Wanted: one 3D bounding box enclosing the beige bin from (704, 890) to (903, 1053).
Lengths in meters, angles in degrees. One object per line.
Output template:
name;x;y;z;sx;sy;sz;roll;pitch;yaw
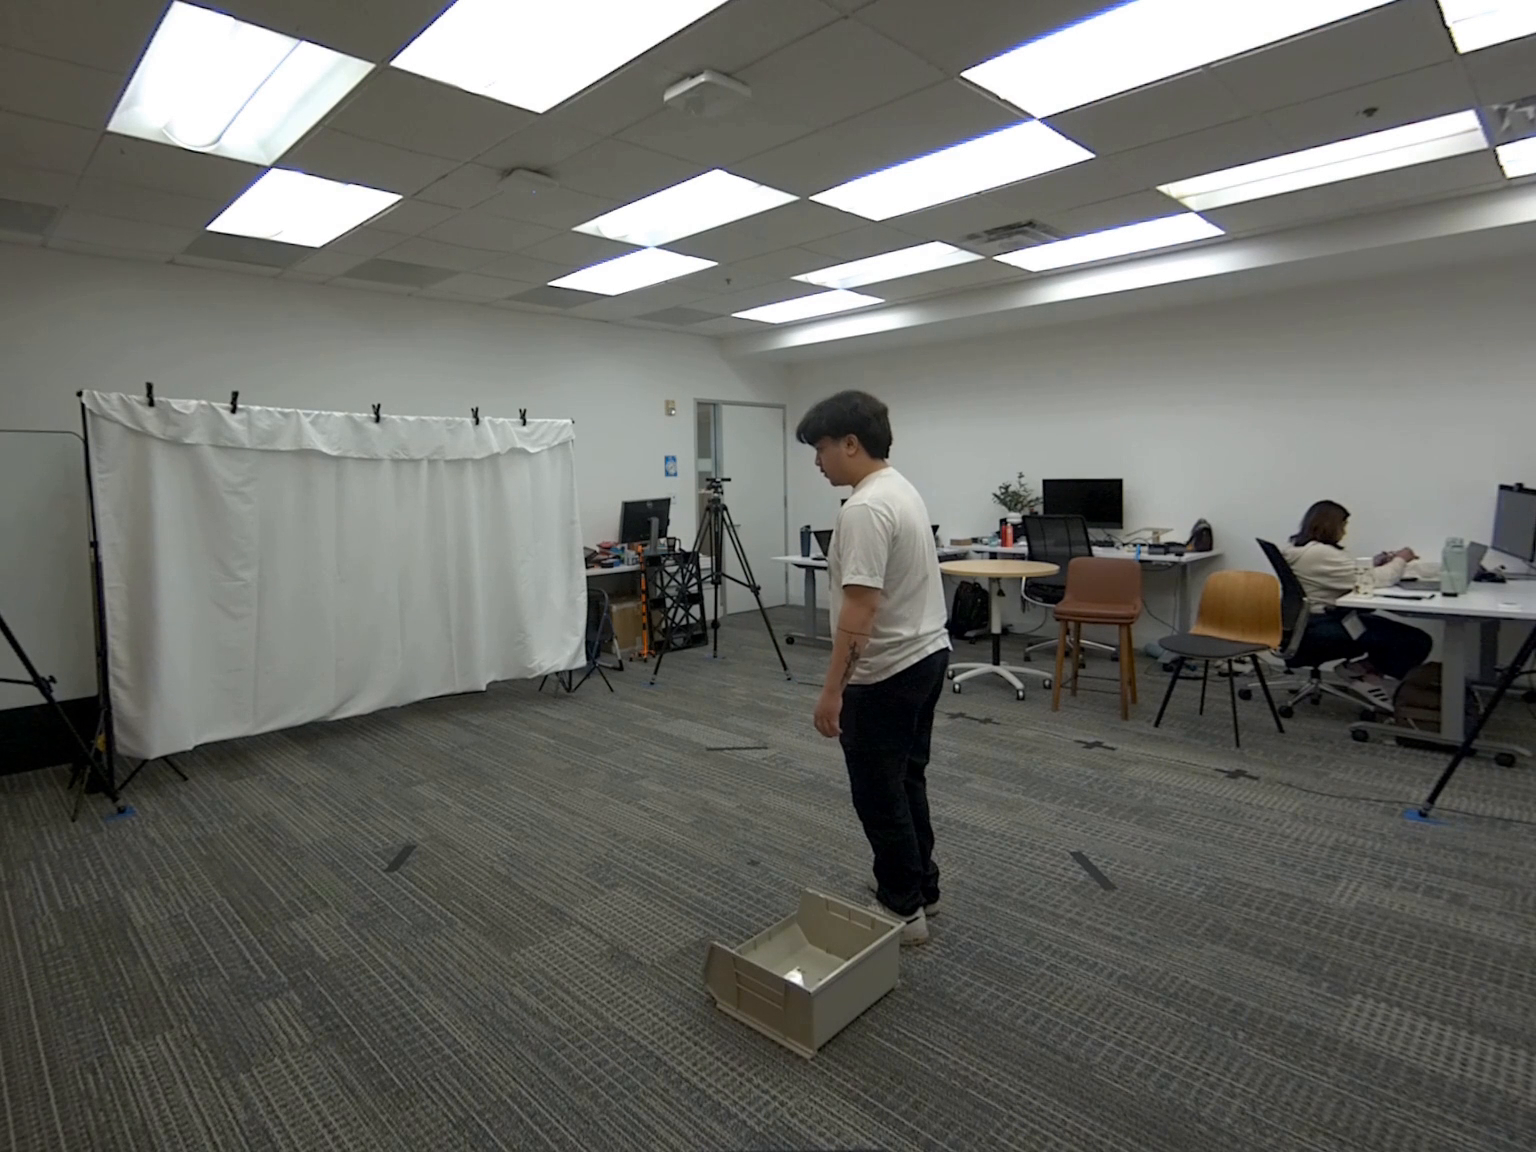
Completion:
beige bin;0.106;1.048;2.308;0.389;0.188;0.411;5;8;42
